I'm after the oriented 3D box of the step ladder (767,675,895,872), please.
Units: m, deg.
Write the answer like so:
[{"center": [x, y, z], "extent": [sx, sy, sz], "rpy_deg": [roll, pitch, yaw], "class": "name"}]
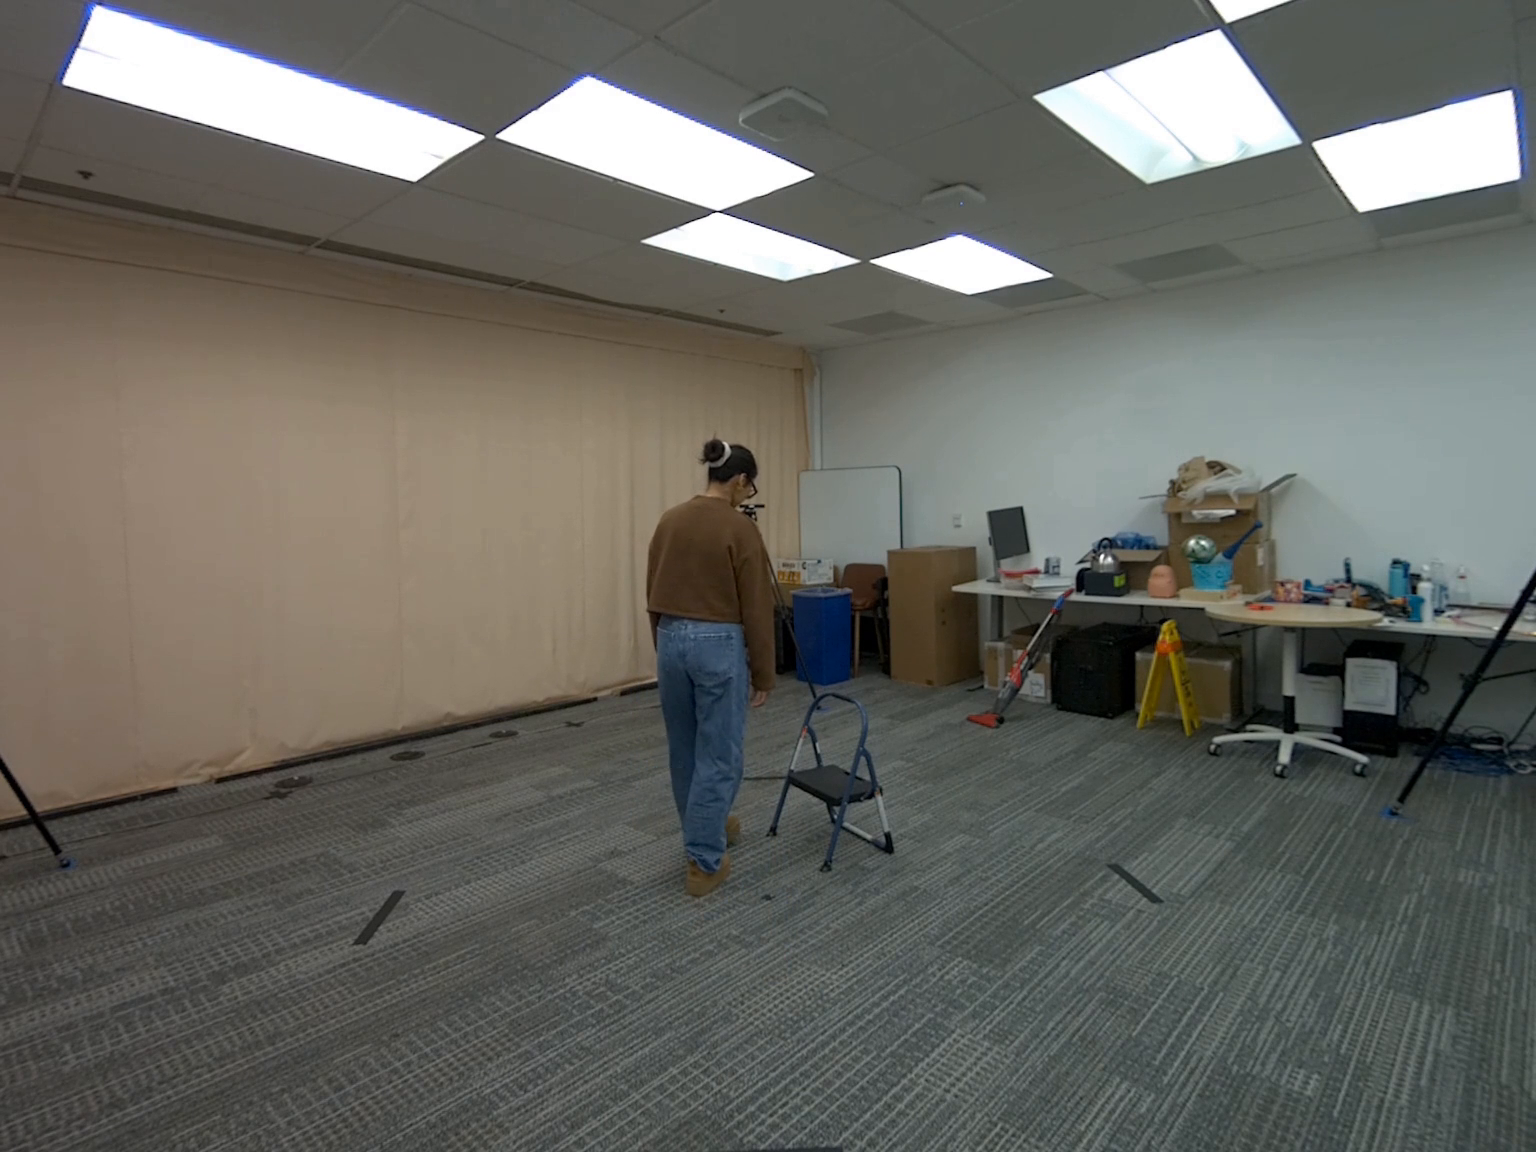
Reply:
[{"center": [0.248, 0.791, 3.428], "extent": [0.340, 0.605, 0.443], "rpy_deg": [-3, 4, -30], "class": "step ladder"}]
